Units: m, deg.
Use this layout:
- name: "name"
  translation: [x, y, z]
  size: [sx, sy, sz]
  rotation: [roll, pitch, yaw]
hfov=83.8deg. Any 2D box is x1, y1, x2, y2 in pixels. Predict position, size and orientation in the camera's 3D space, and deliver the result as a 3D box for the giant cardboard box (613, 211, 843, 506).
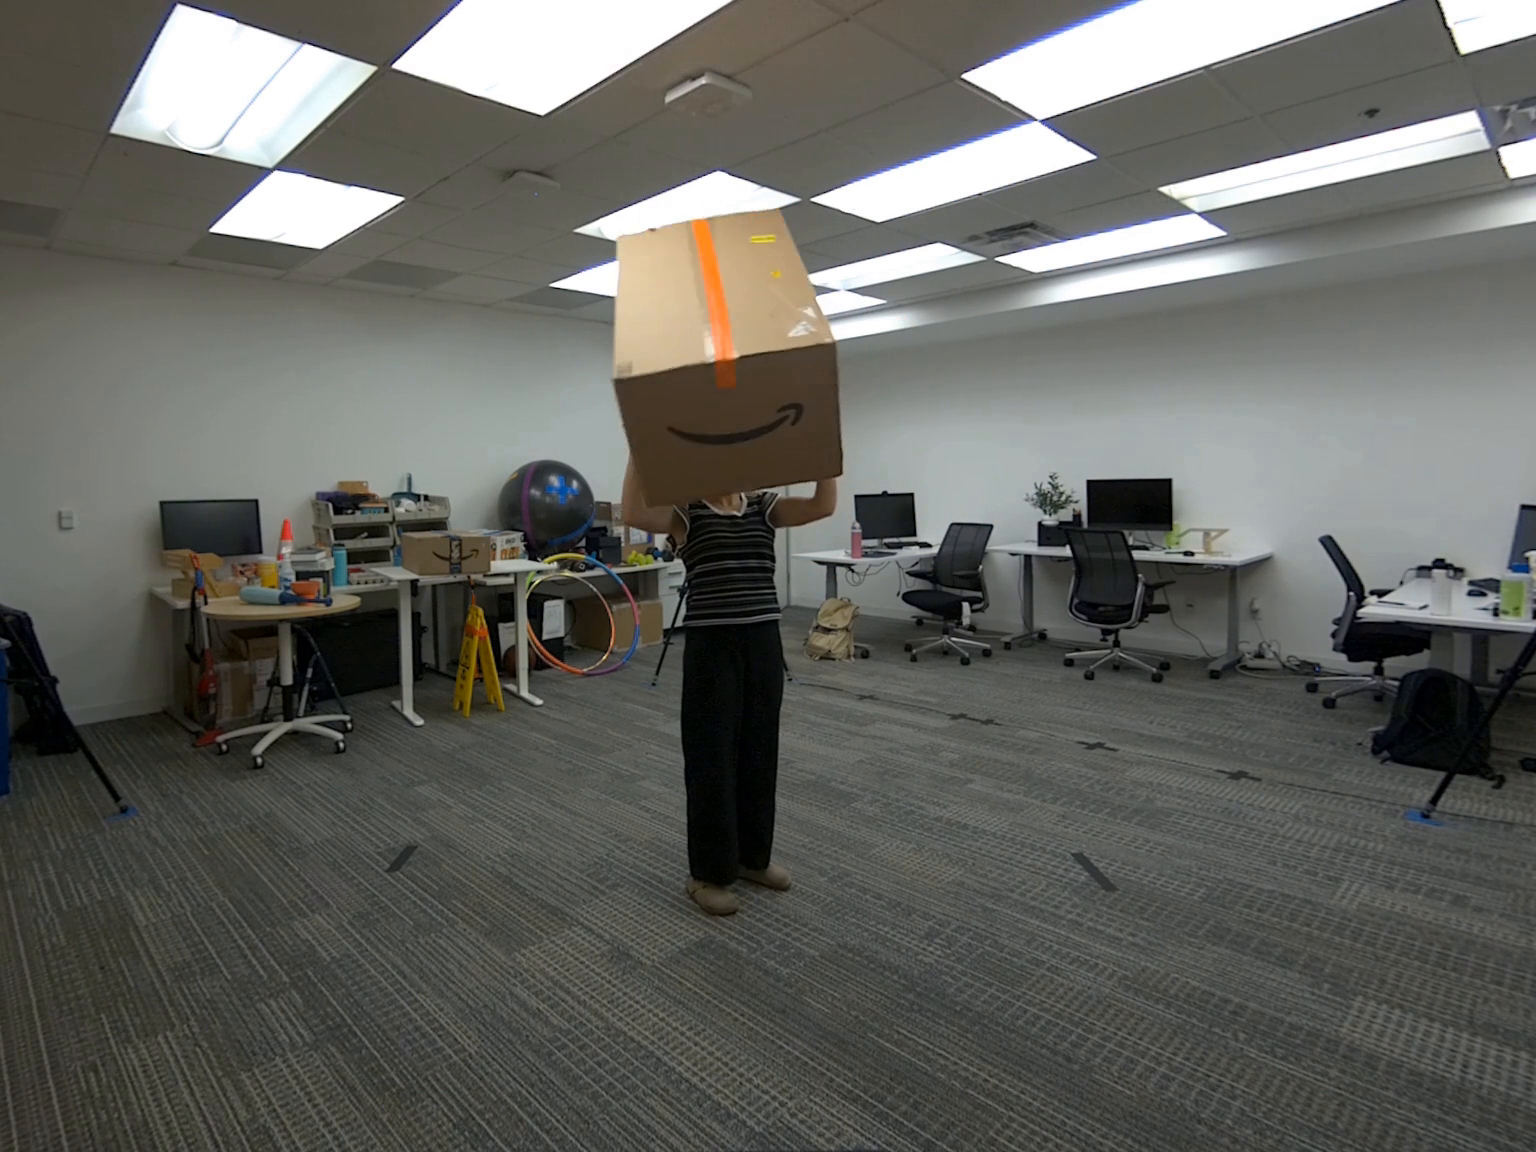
- name: "giant cardboard box"
  translation: [-0.153, -0.725, 2.687]
  size: [0.577, 0.413, 1.058]
  rotation: [-10, 41, -1]
